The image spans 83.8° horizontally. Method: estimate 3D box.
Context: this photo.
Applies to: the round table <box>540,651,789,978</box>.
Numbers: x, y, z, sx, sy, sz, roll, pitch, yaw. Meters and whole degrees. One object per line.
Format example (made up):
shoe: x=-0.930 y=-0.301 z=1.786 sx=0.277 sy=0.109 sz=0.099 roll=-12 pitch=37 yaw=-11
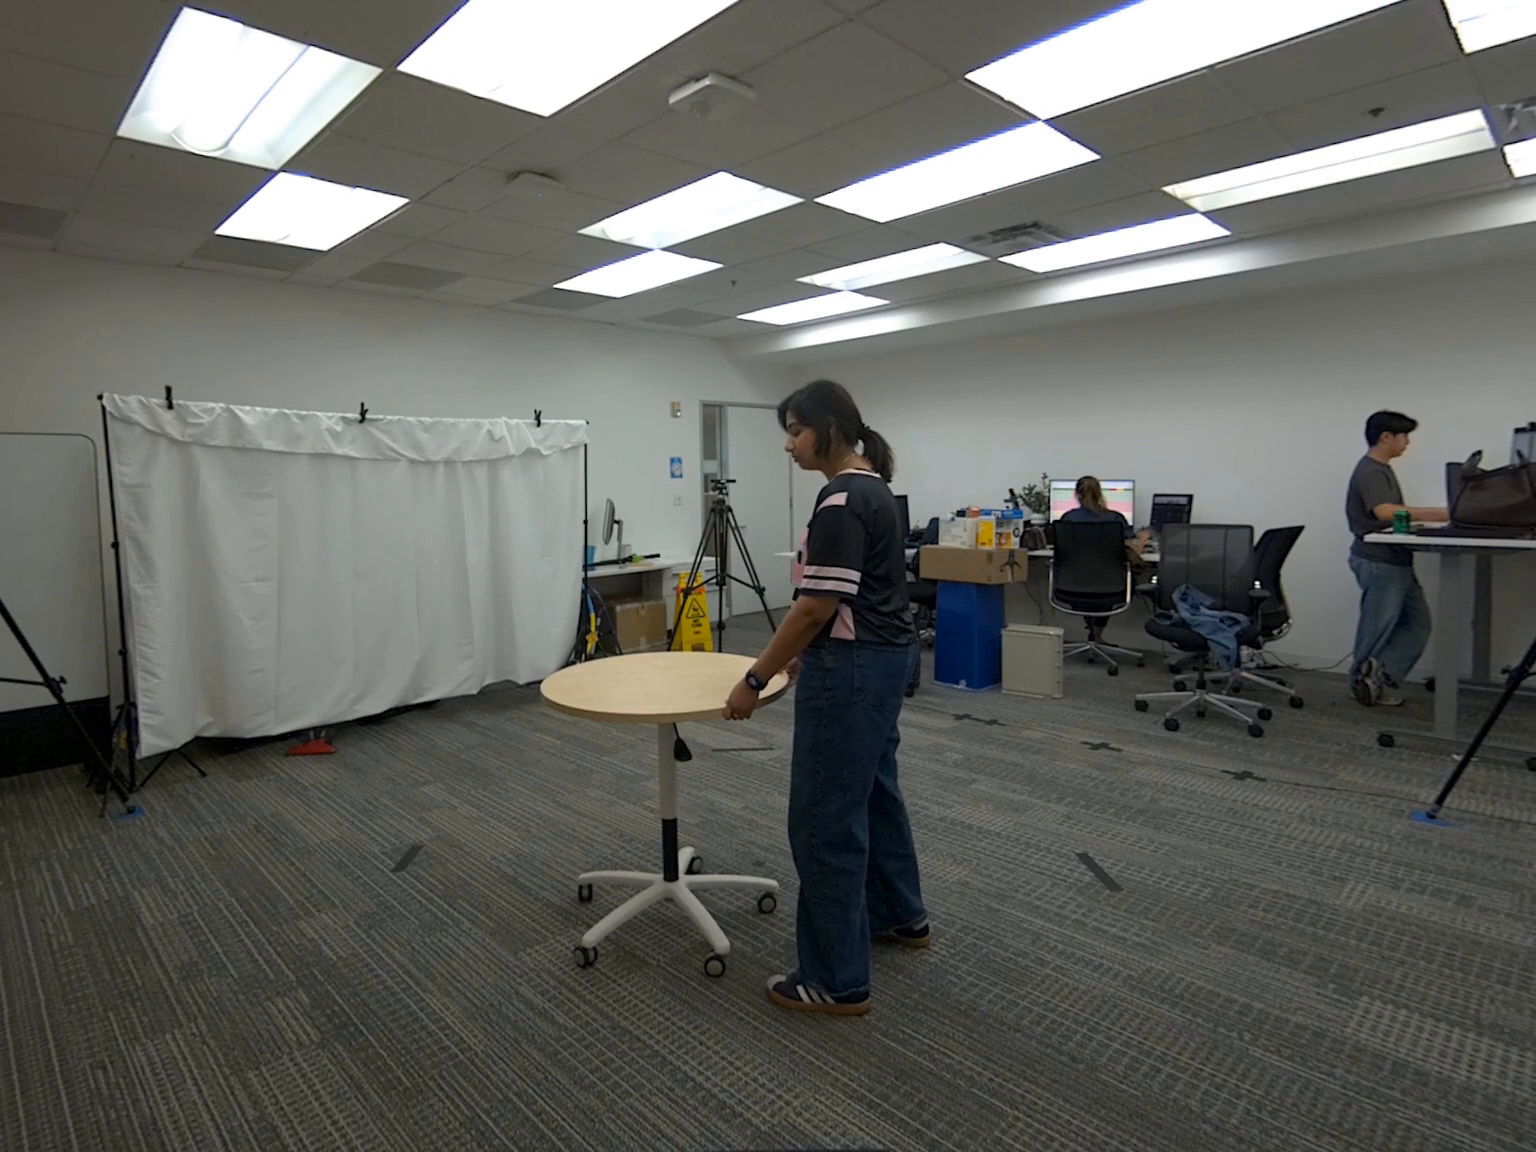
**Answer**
round table: x=-0.307 y=0.711 z=2.696 sx=0.763 sy=0.790 sz=0.768 roll=-1 pitch=6 yaw=-2
